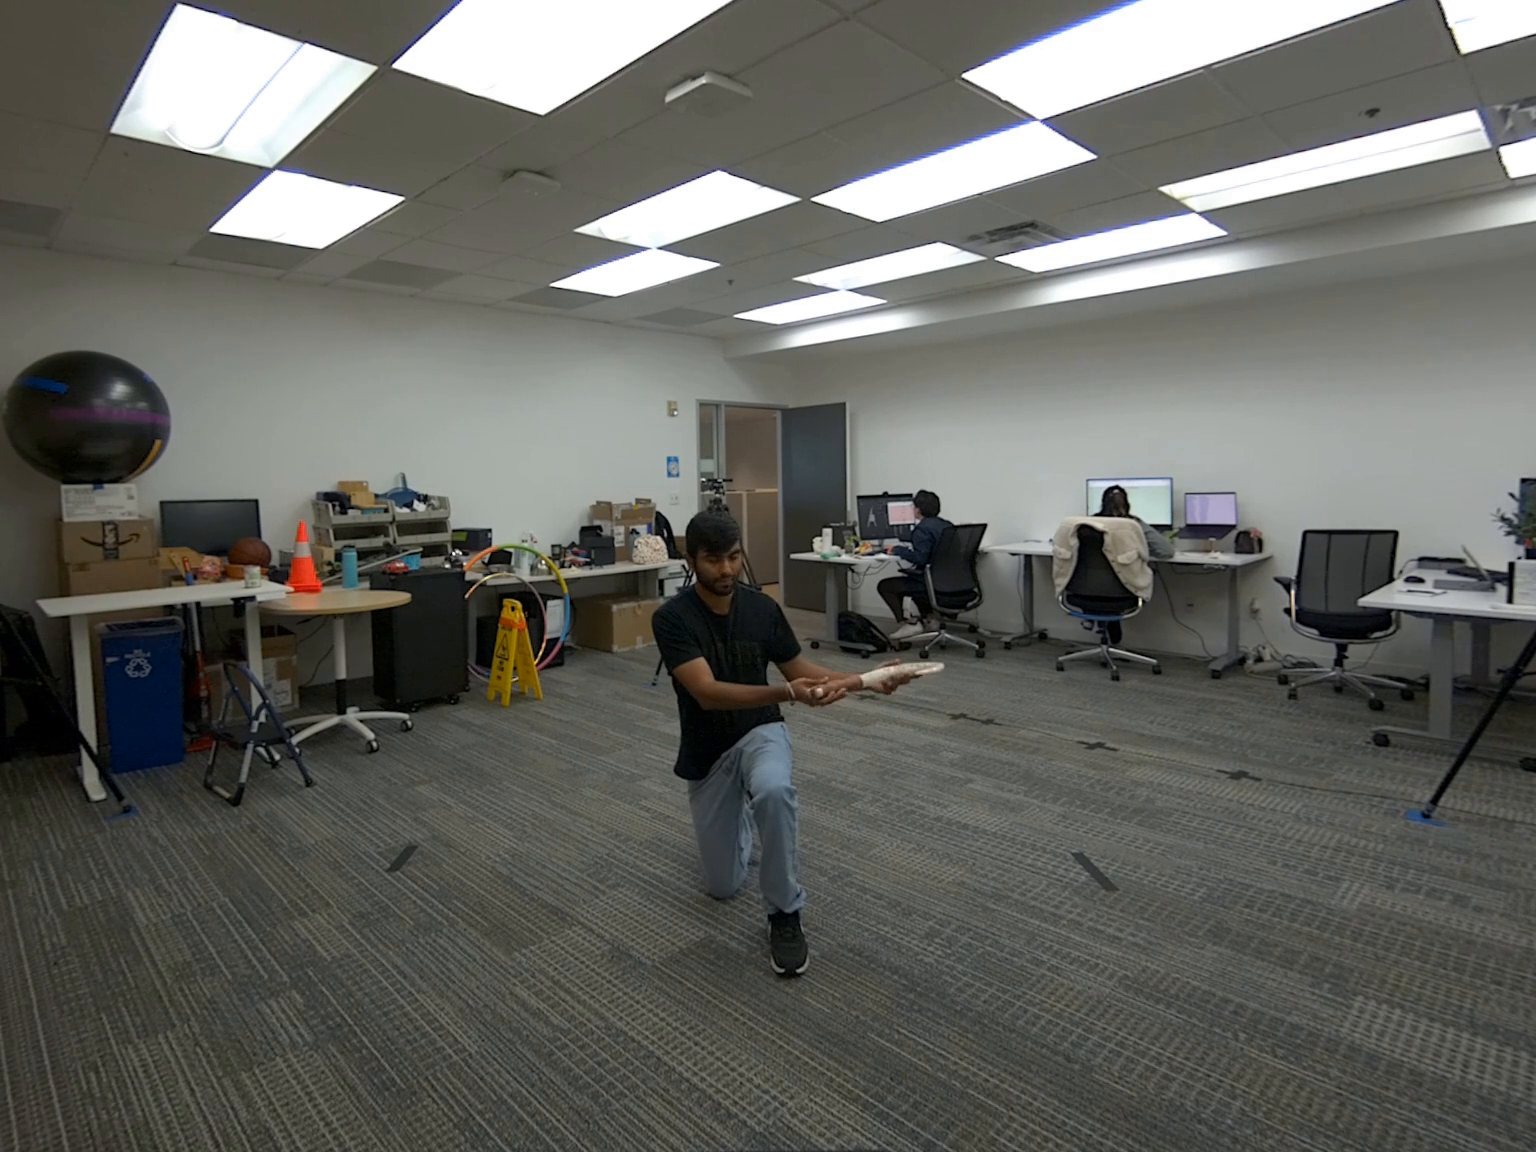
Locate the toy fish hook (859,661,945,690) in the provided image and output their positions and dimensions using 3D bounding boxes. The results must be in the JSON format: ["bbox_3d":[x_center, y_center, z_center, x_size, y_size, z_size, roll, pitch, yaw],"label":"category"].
[{"bbox_3d":[0.312,0.296,2.500,0.228,0.049,0.493,-20,-8,42],"label":"toy fish hook"}]
